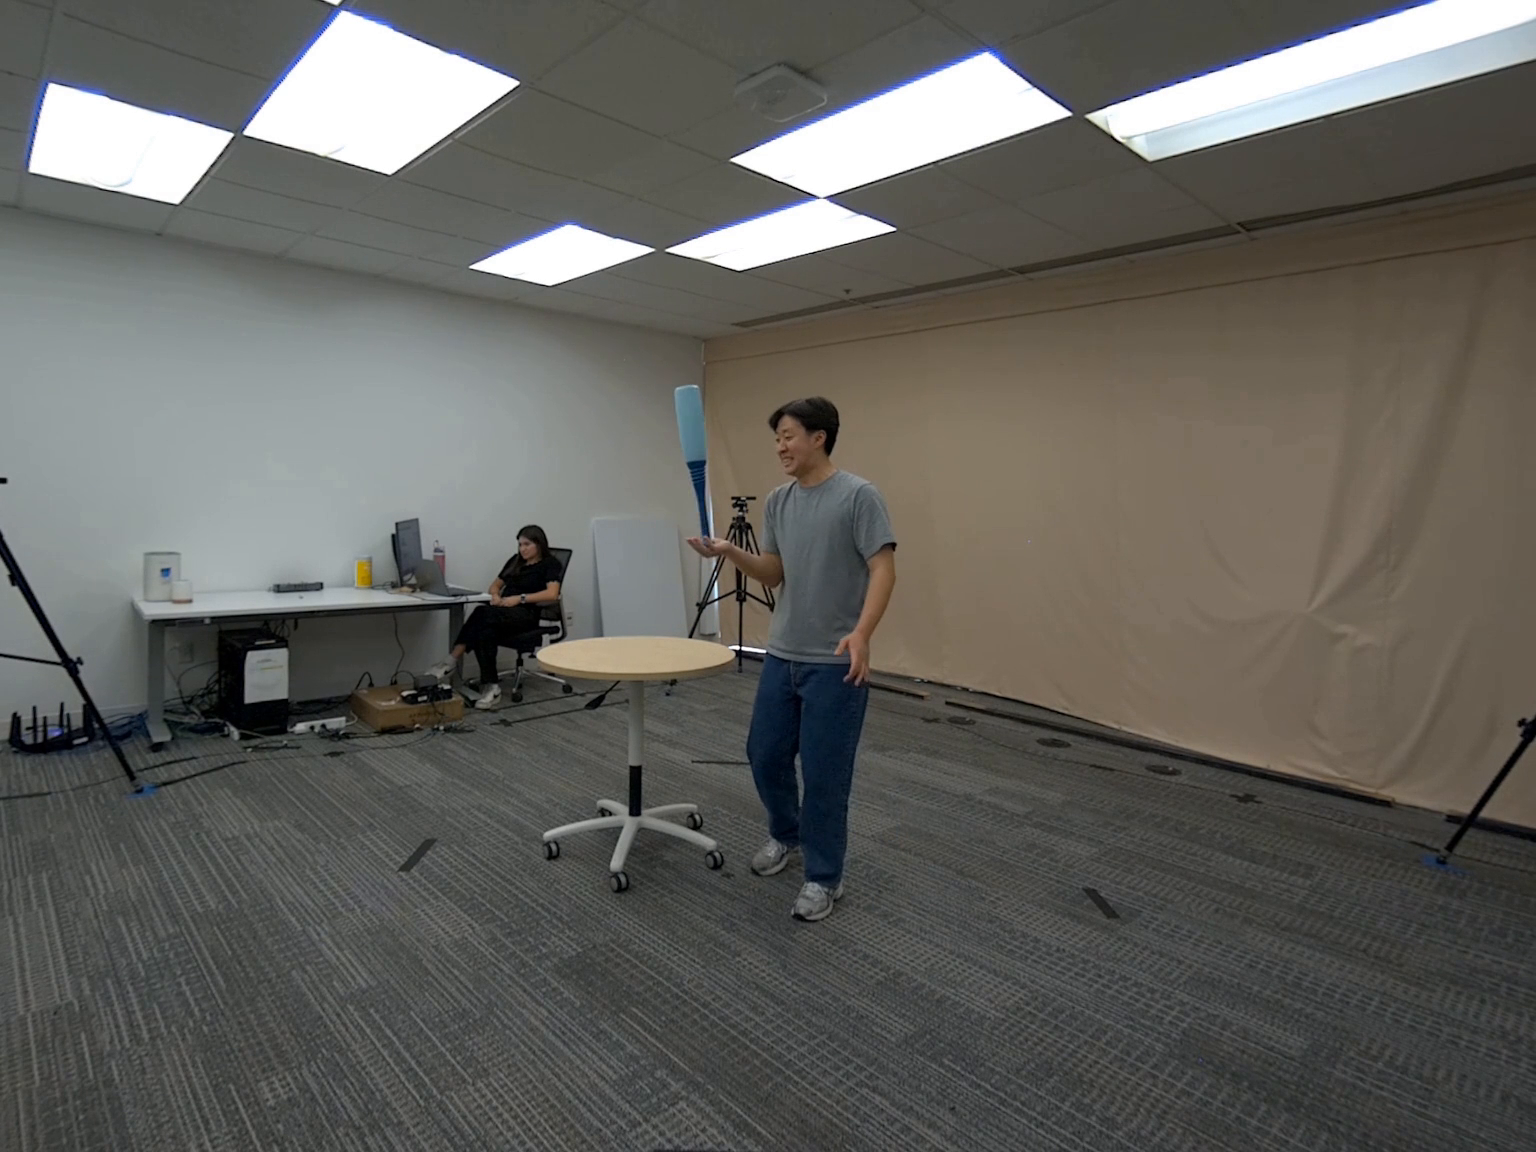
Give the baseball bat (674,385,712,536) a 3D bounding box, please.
[{"bbox_3d":[-0.252,-0.371,2.794,0.089,0.541,0.089,-5,3,-1],"label":"baseball bat"}]
